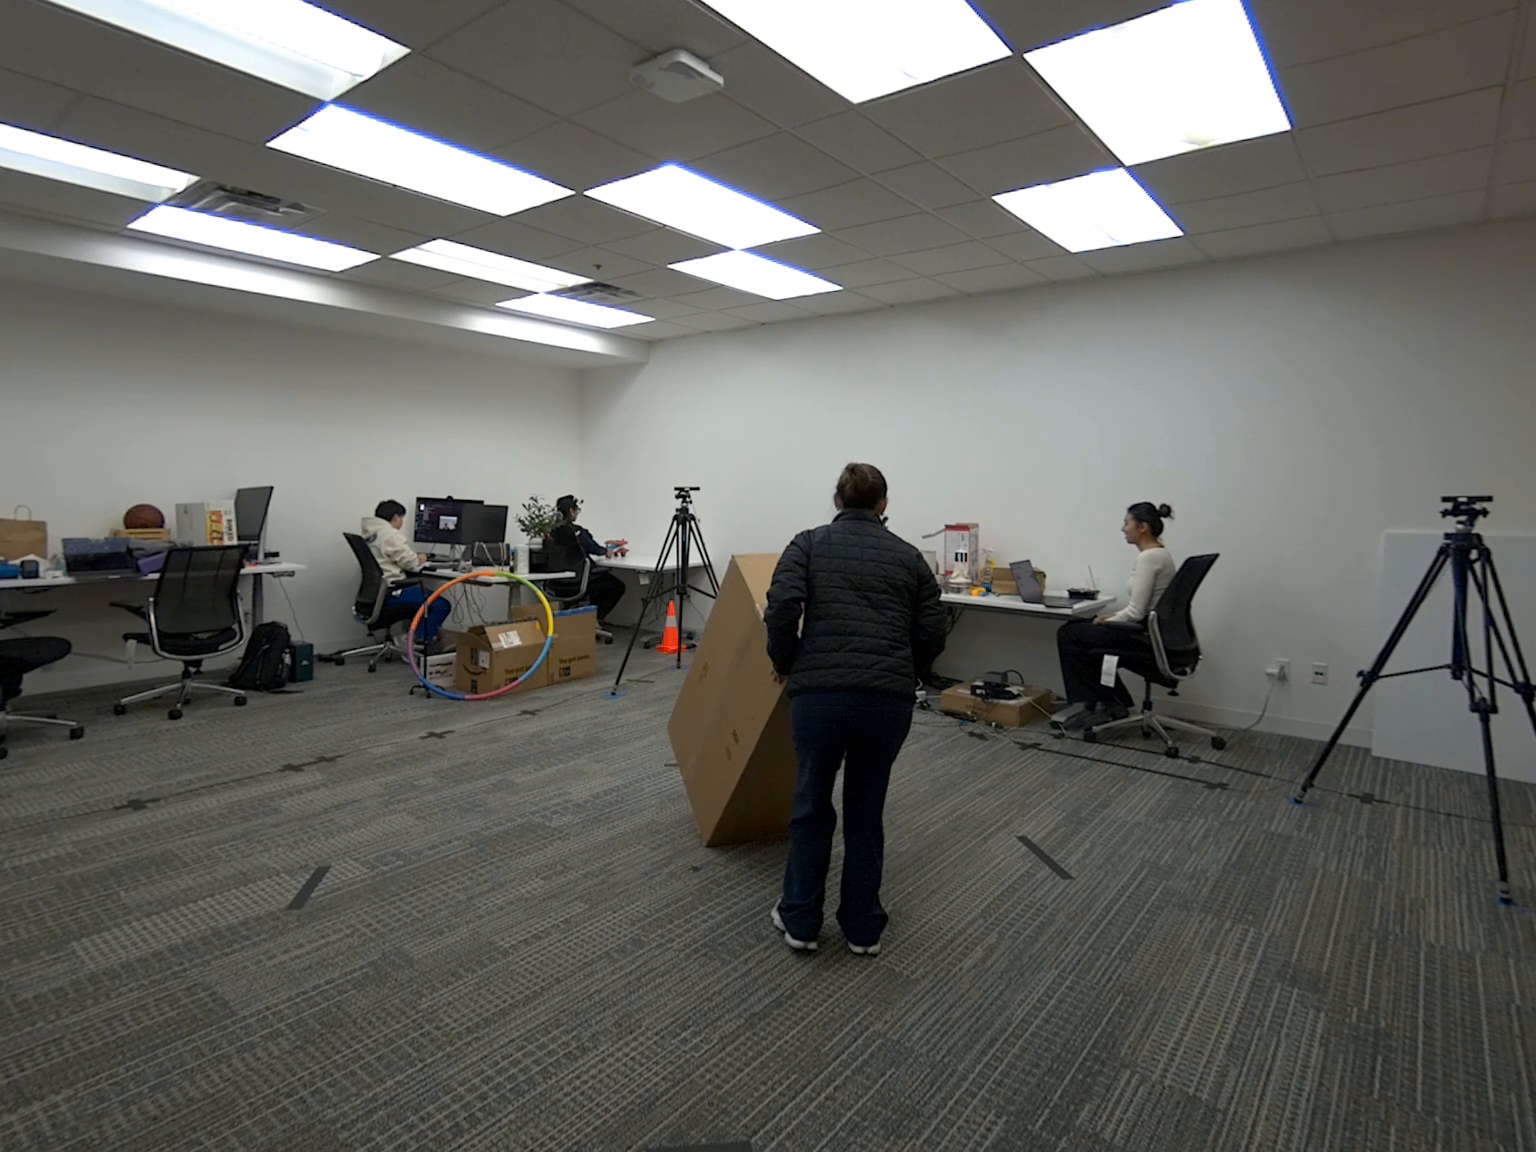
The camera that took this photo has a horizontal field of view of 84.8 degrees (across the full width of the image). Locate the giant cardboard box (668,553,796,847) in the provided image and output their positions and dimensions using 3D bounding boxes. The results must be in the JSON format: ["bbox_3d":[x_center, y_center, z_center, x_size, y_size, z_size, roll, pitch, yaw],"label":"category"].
[{"bbox_3d":[0.008,0.474,3.277,0.436,1.012,0.607,1,43,-26],"label":"giant cardboard box"}]
